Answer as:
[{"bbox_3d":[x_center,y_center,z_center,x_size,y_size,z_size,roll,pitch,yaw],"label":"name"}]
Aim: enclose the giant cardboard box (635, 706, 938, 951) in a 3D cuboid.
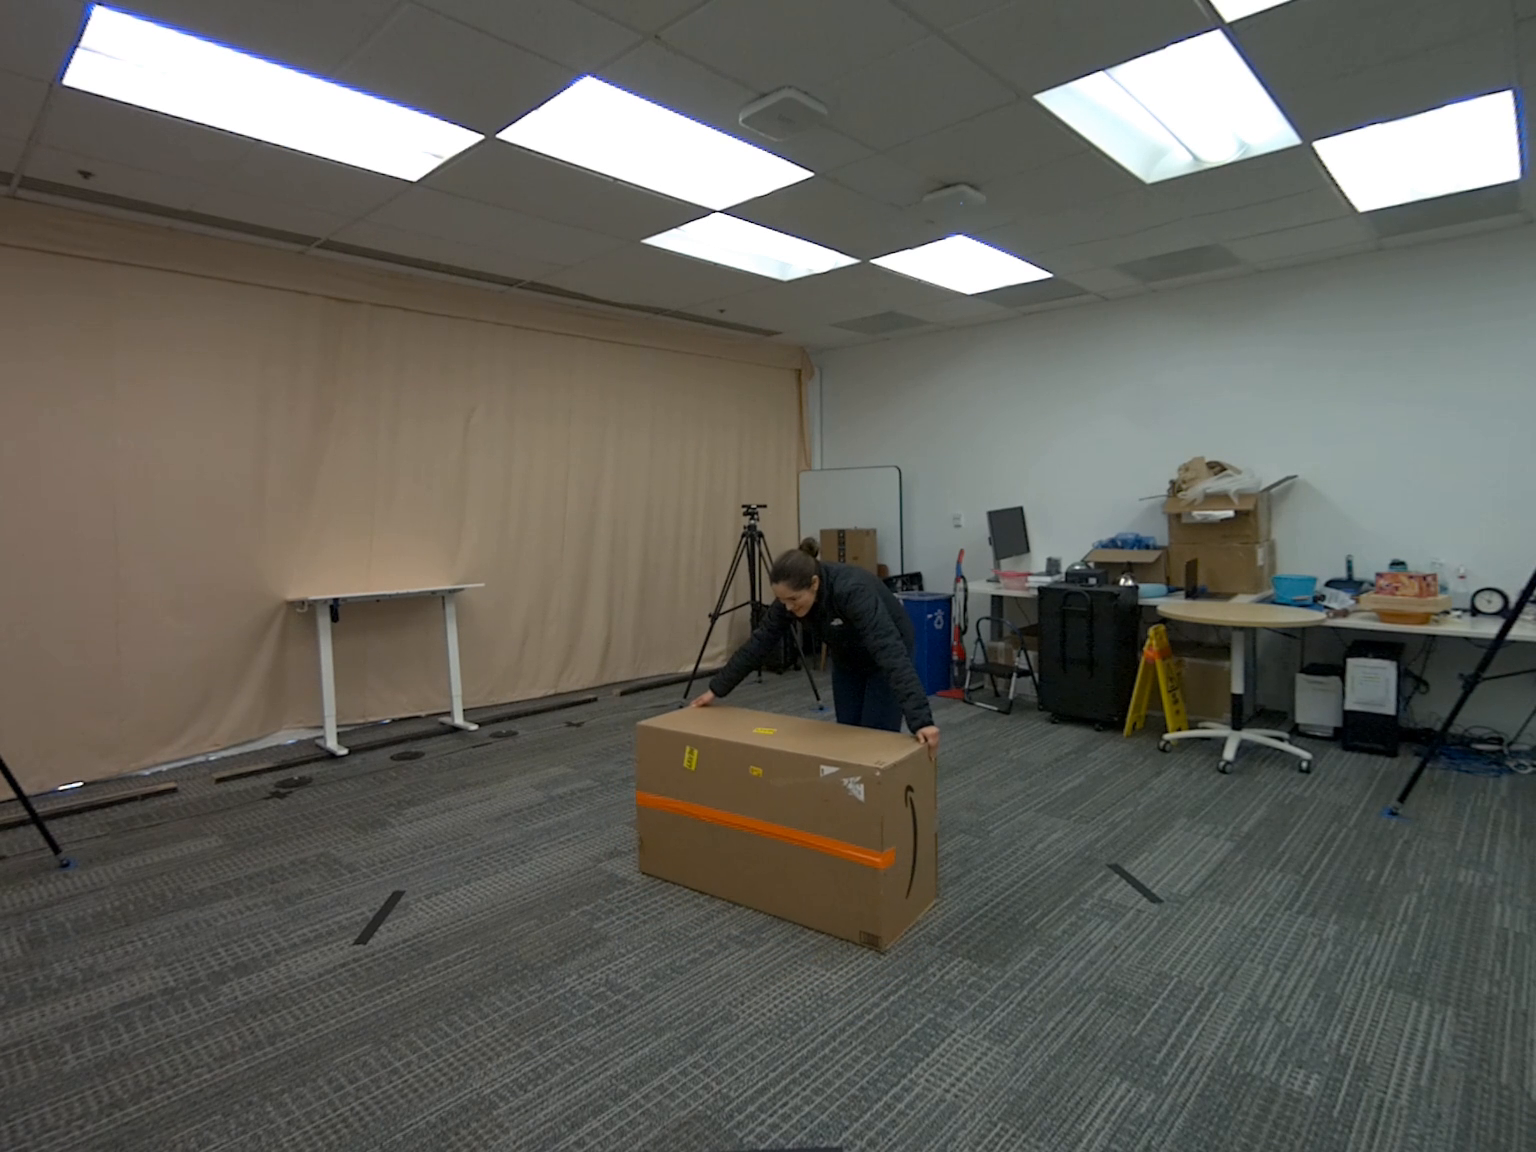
[{"bbox_3d":[0.056,0.846,3.053,1.059,0.583,0.434,2,4,35],"label":"giant cardboard box"}]
